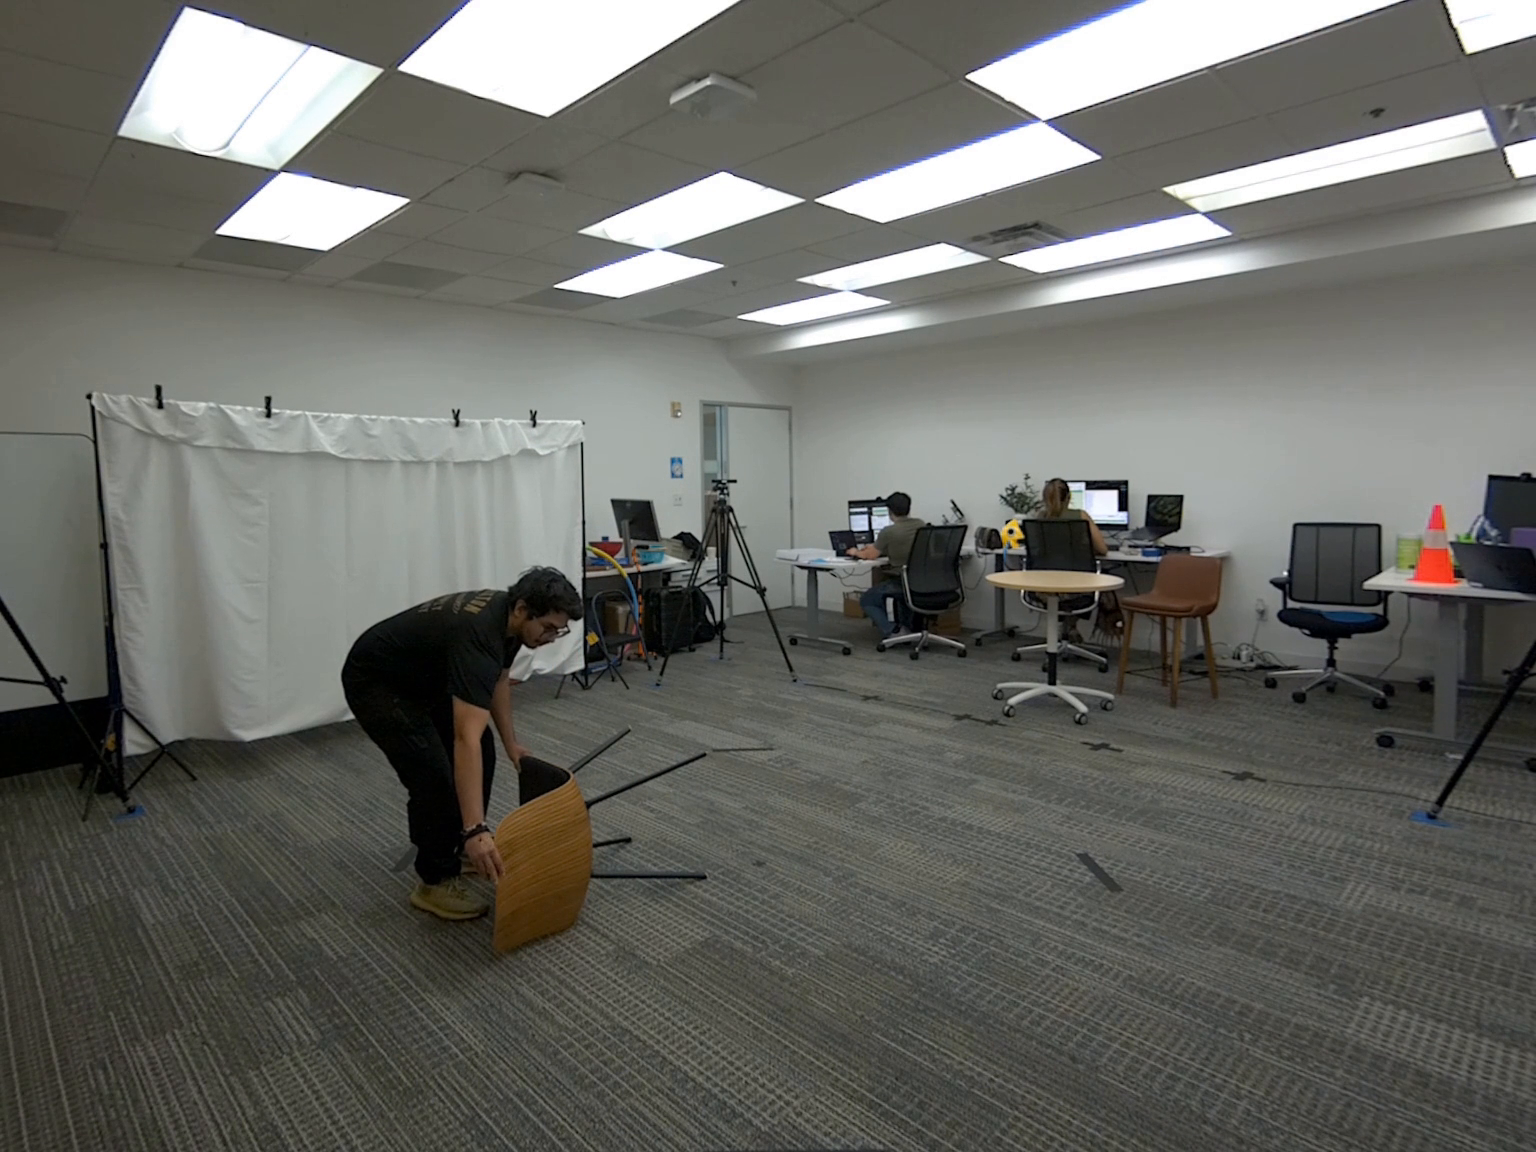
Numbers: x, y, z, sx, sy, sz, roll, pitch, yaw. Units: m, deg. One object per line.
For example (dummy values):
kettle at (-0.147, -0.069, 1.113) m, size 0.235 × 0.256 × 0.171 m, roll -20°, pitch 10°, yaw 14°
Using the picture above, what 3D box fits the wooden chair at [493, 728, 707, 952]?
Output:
wooden chair at (-0.677, 0.859, 2.864) m, size 0.539 × 0.476 × 0.855 m, roll 4°, pitch 8°, yaw 40°
